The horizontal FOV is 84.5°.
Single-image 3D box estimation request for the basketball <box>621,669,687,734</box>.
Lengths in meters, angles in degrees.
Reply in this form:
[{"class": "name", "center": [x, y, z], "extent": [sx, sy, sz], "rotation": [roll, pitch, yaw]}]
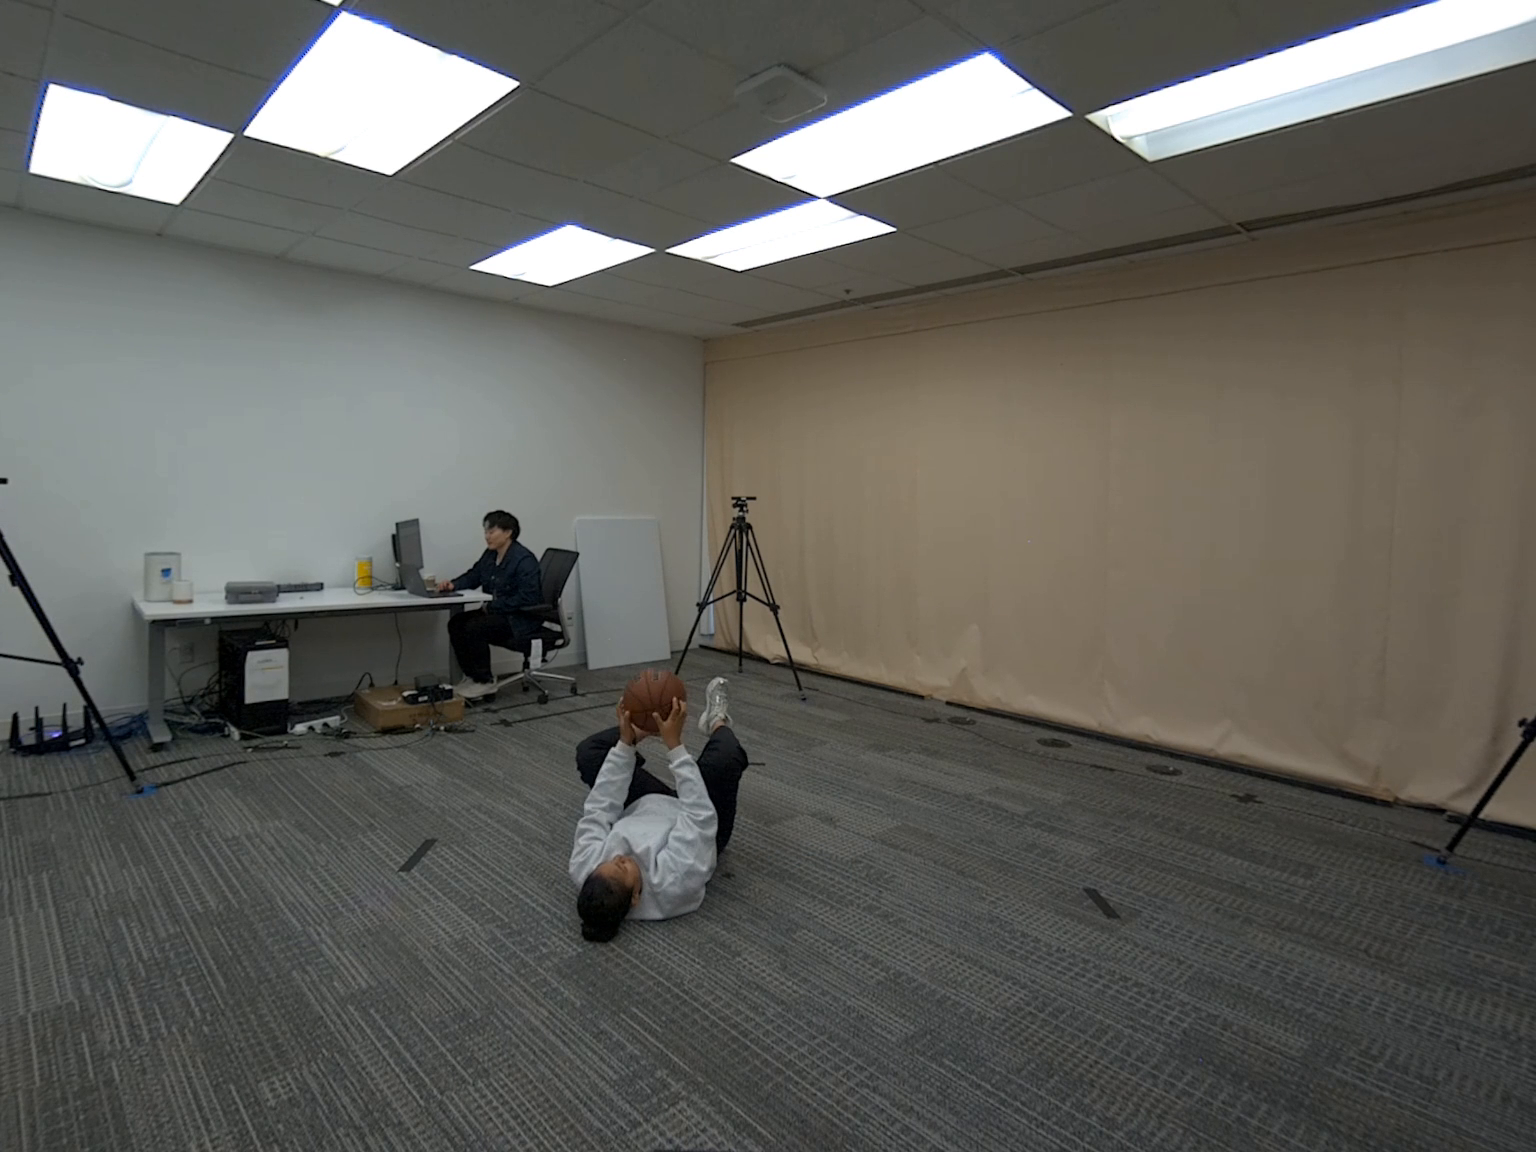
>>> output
[{"class": "basketball", "center": [-0.437, 0.483, 3.130], "extent": [0.235, 0.235, 0.237], "rotation": [4, 7, -2]}]
